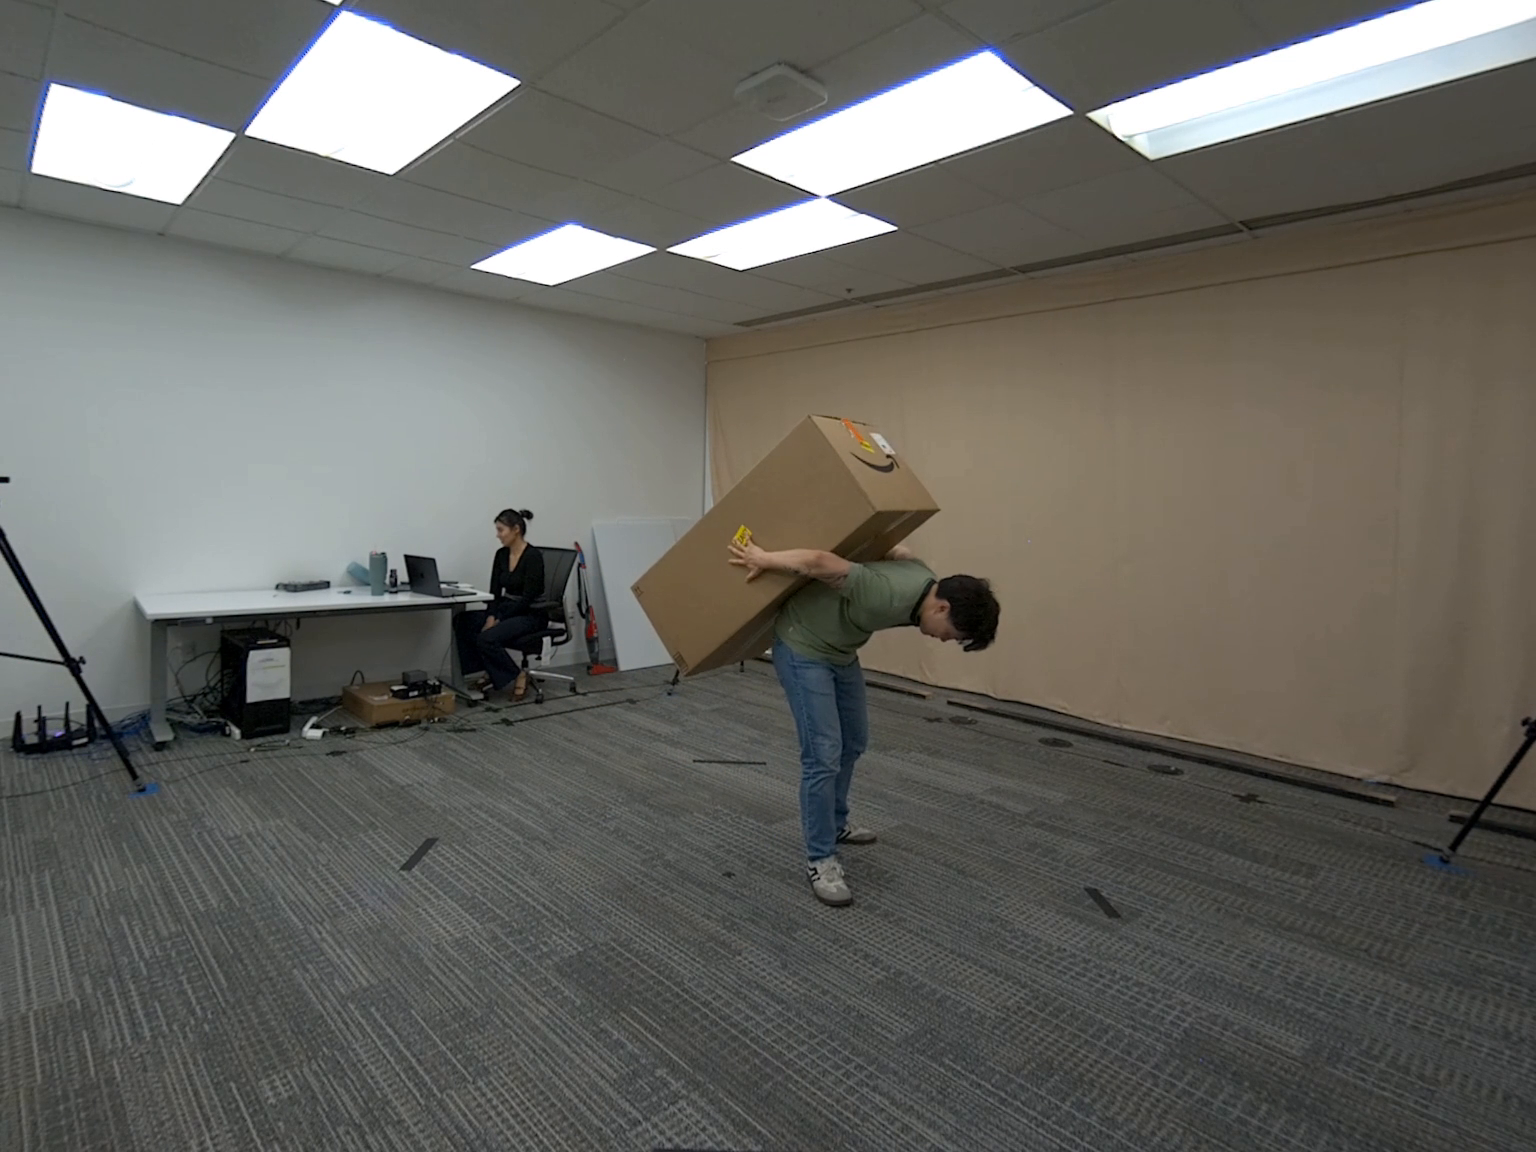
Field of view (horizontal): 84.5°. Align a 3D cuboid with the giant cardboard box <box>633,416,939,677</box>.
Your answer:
[{"bbox_3d":[0.048,-0.102,3.246,1.028,0.434,0.565,-42,-19,28],"label":"giant cardboard box"}]
